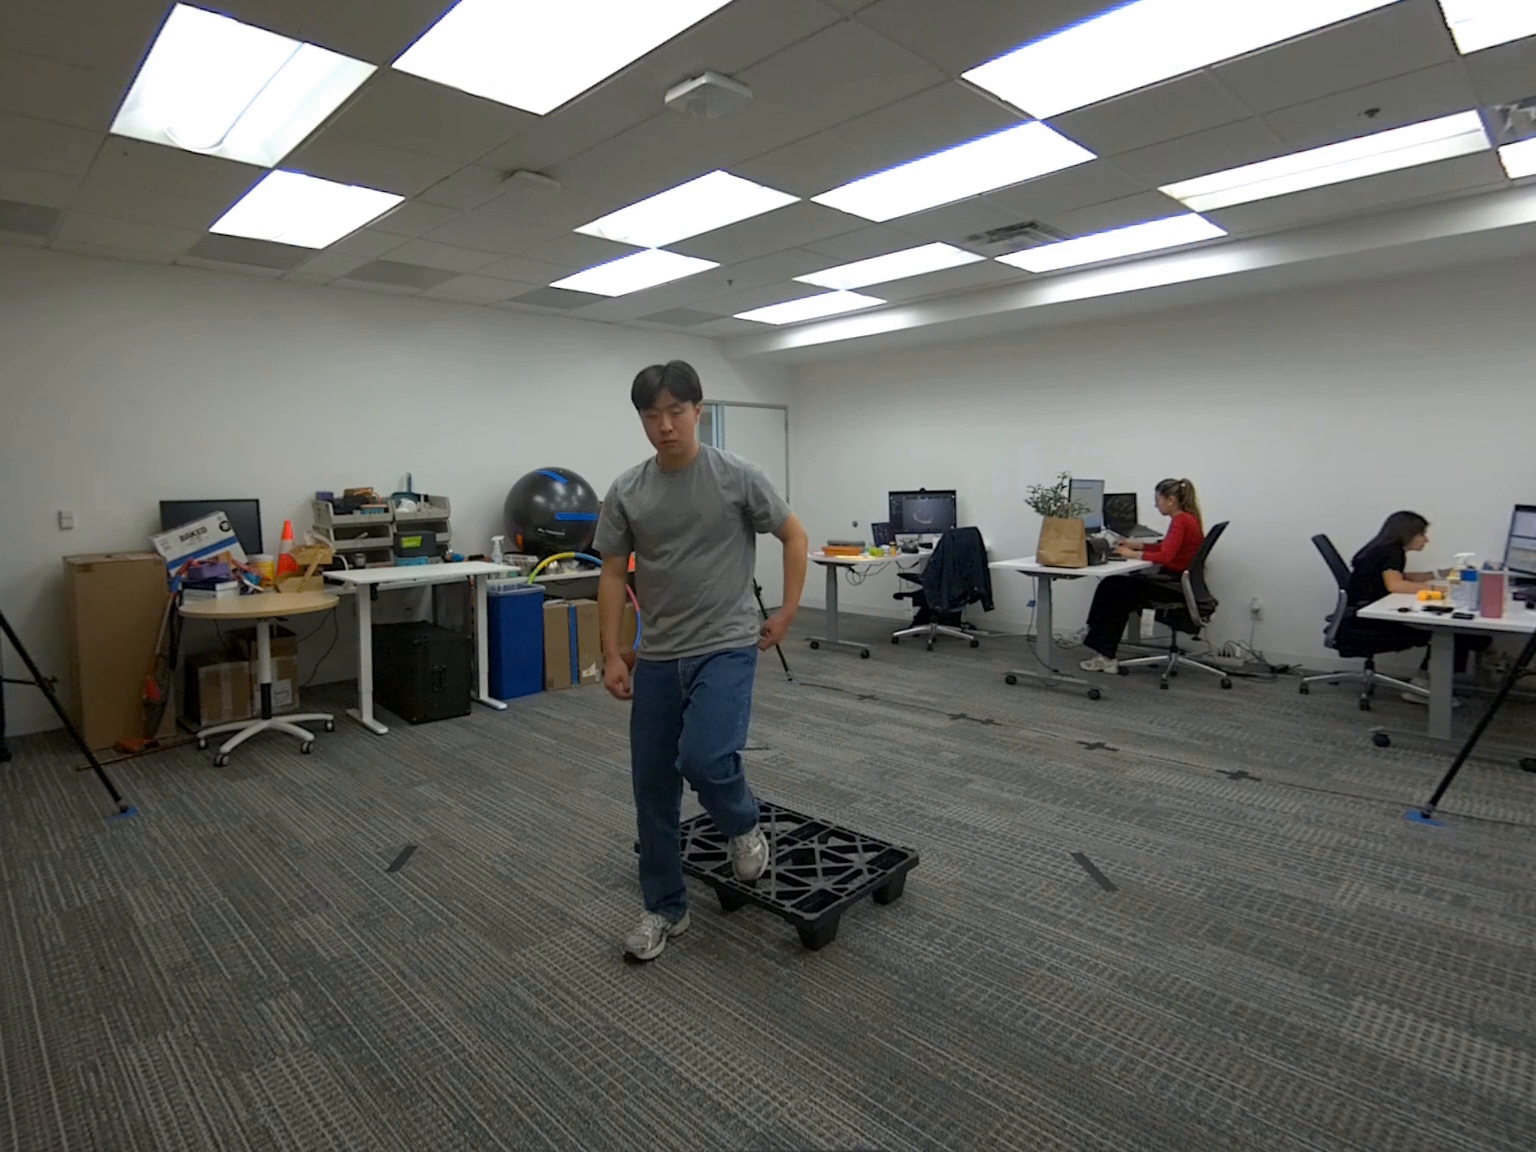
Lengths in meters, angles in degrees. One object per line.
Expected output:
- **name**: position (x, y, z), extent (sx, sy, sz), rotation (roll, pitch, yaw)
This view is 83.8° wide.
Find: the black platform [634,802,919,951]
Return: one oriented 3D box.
- **black platform**: position (0.025, 0.998, 2.933), extent (0.830, 0.142, 0.590), rotation (5, 9, 43)
